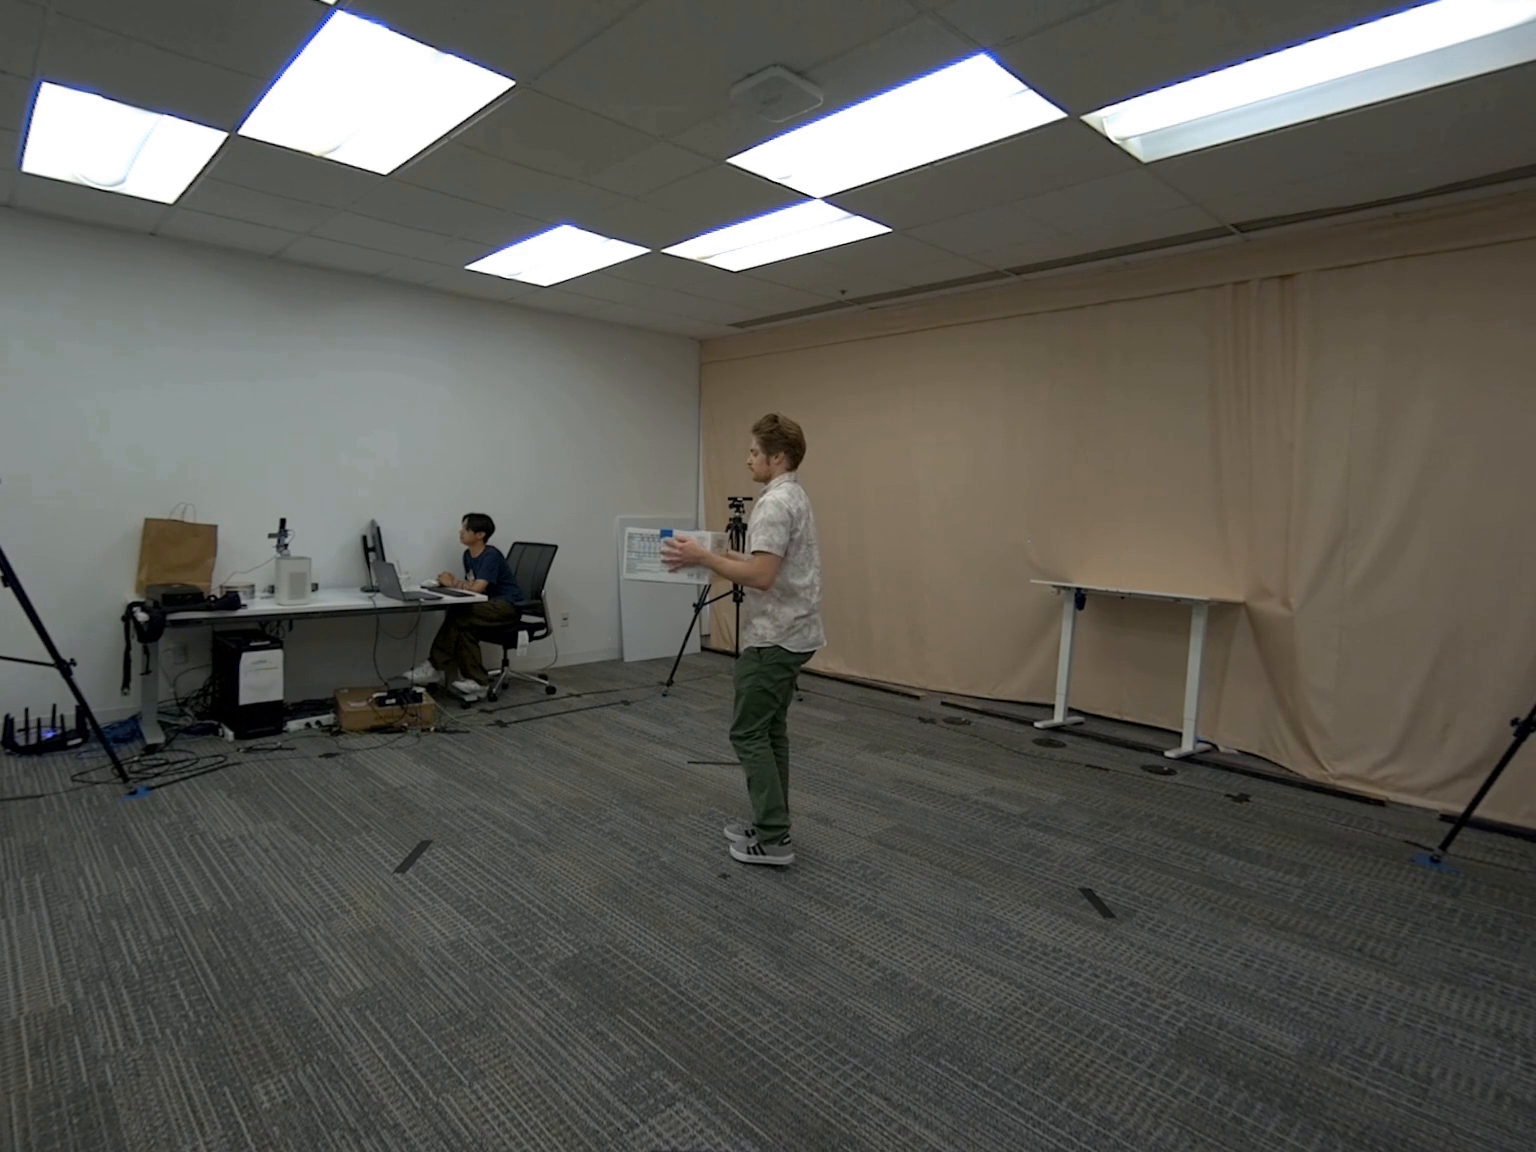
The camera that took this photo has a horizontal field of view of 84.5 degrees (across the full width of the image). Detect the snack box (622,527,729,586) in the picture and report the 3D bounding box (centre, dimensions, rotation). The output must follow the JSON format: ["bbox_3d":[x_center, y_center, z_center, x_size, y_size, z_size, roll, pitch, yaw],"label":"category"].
[{"bbox_3d":[-0.366,-0.085,3.408,0.343,0.205,0.402,4,3,8],"label":"snack box"}]
